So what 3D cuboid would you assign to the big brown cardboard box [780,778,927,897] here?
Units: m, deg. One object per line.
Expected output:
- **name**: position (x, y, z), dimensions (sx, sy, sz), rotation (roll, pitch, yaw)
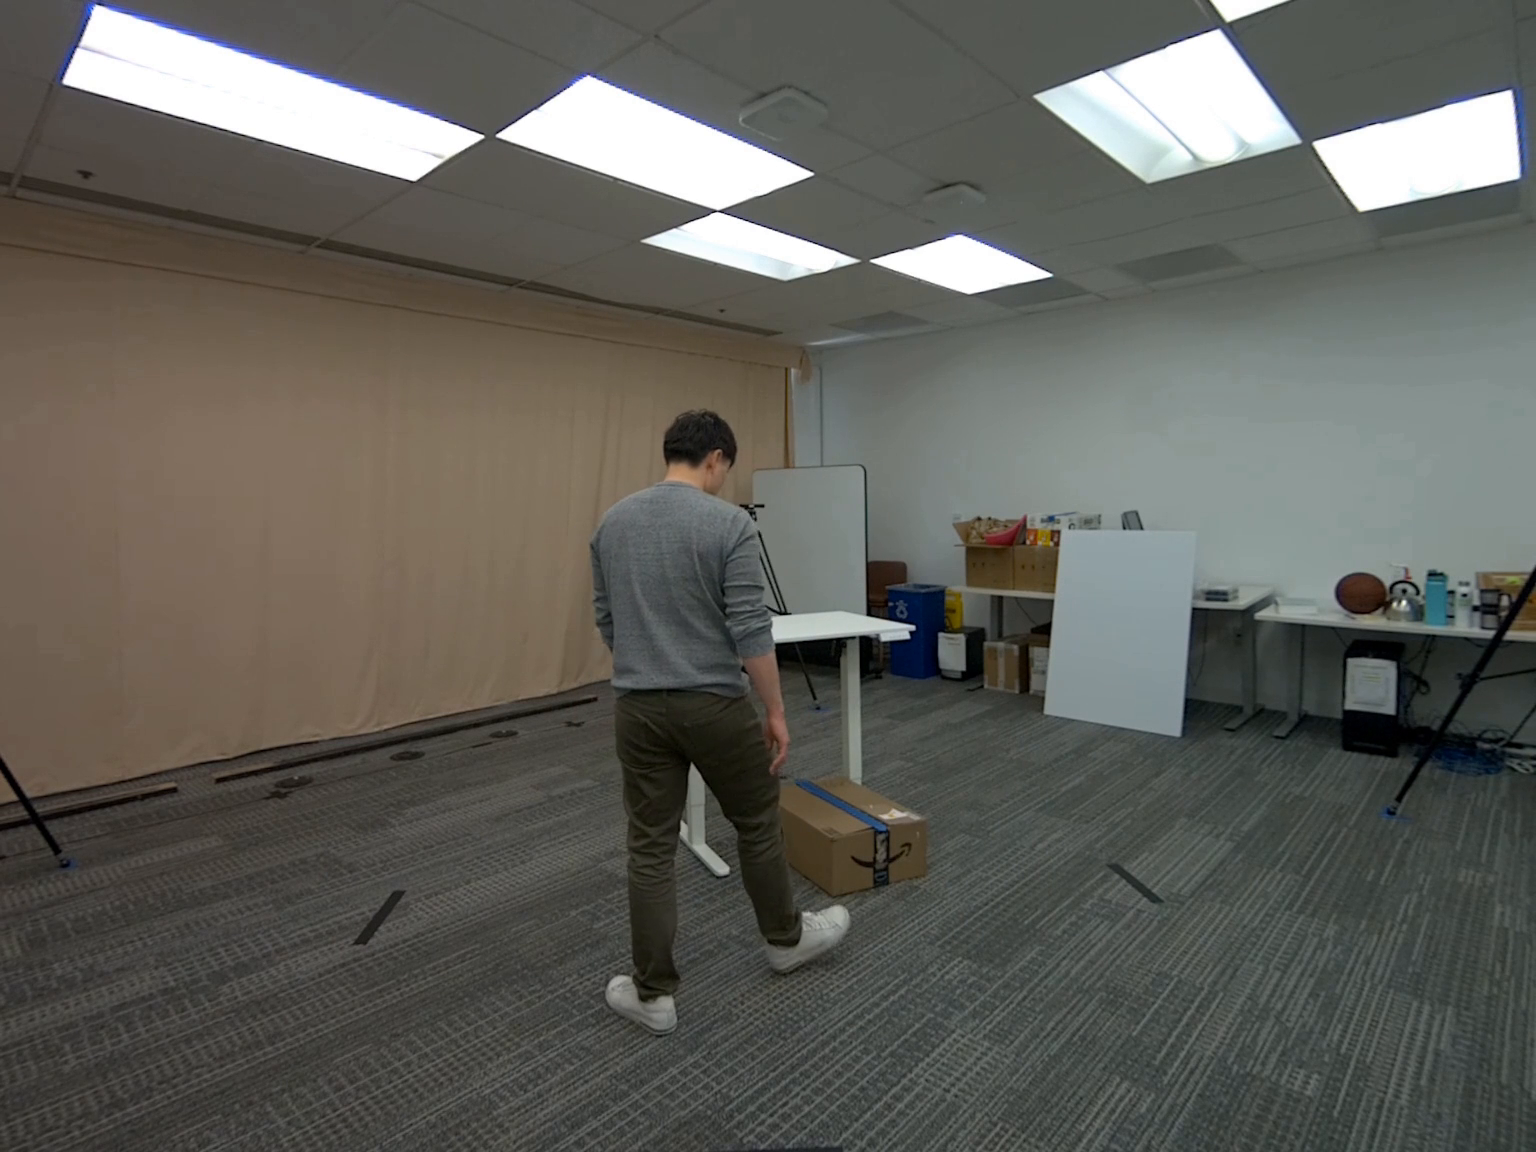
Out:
- **big brown cardboard box**: position (0.280, 0.994, 3.295), dimensions (0.407, 0.232, 0.605), rotation (-3, 4, -27)
